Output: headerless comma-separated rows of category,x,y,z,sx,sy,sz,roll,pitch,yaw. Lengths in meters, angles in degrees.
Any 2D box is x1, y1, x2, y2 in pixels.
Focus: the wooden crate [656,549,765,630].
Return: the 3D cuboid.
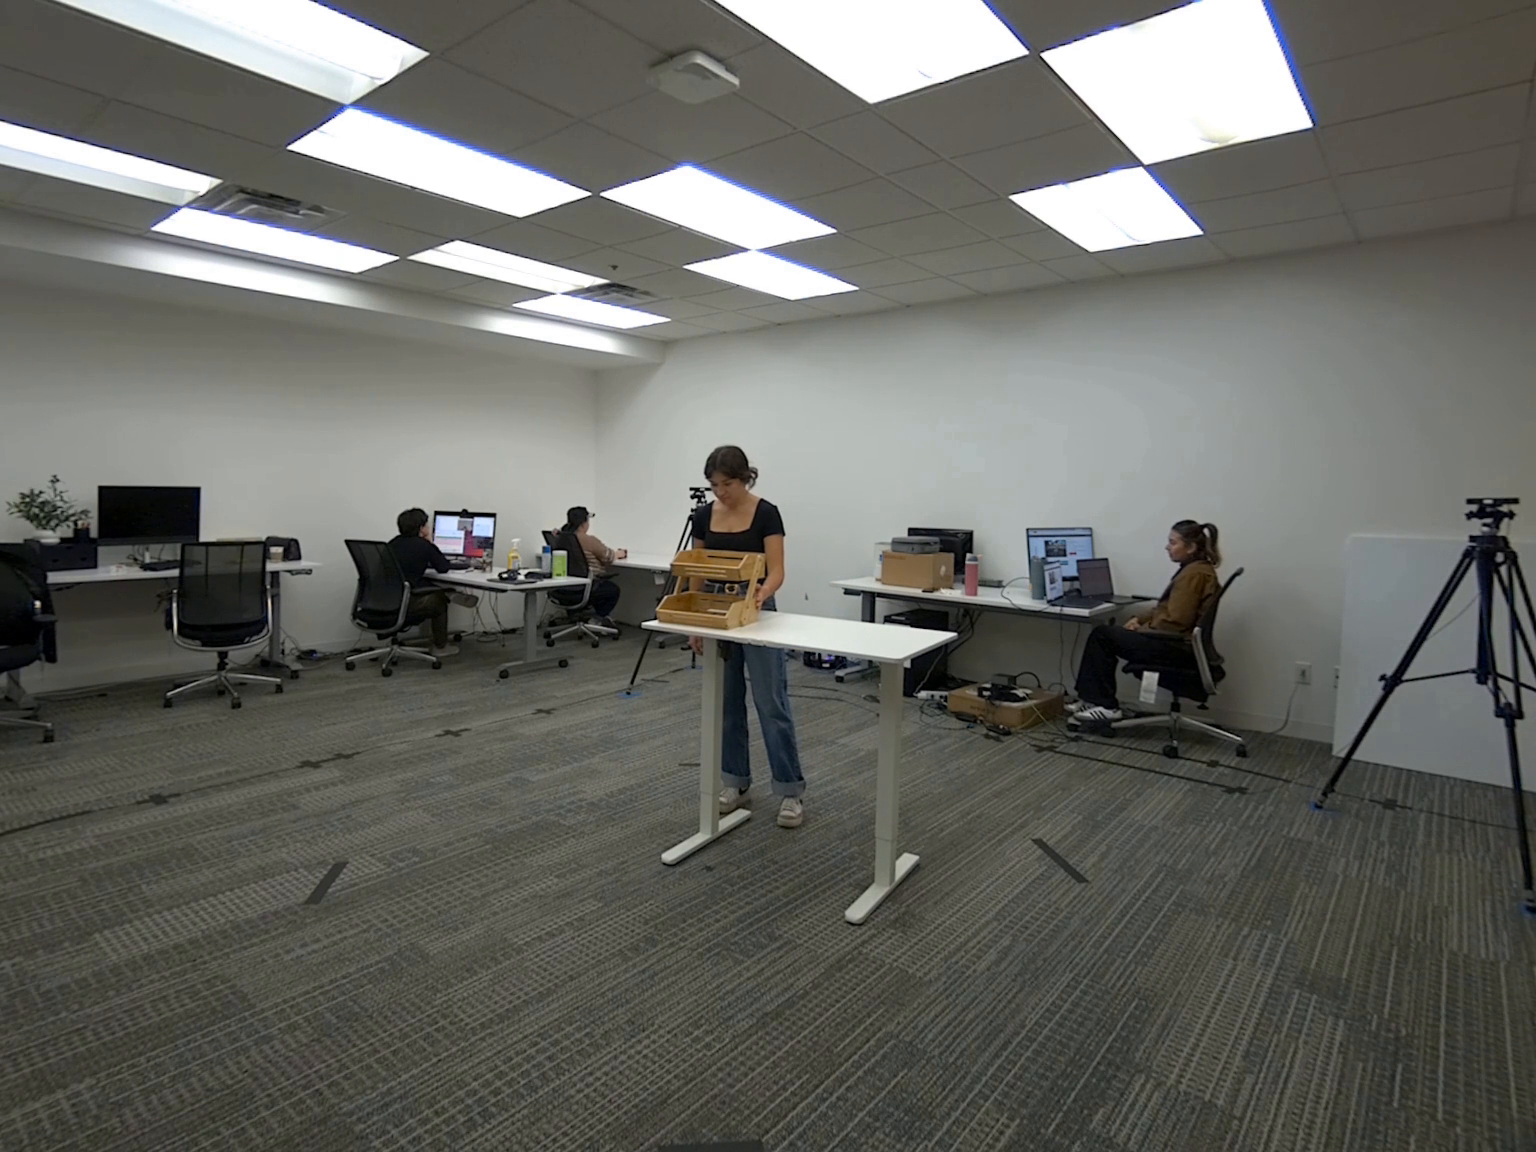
wooden crate,-0.224,0.036,3.228,0.334,0.272,0.294,4,4,27
